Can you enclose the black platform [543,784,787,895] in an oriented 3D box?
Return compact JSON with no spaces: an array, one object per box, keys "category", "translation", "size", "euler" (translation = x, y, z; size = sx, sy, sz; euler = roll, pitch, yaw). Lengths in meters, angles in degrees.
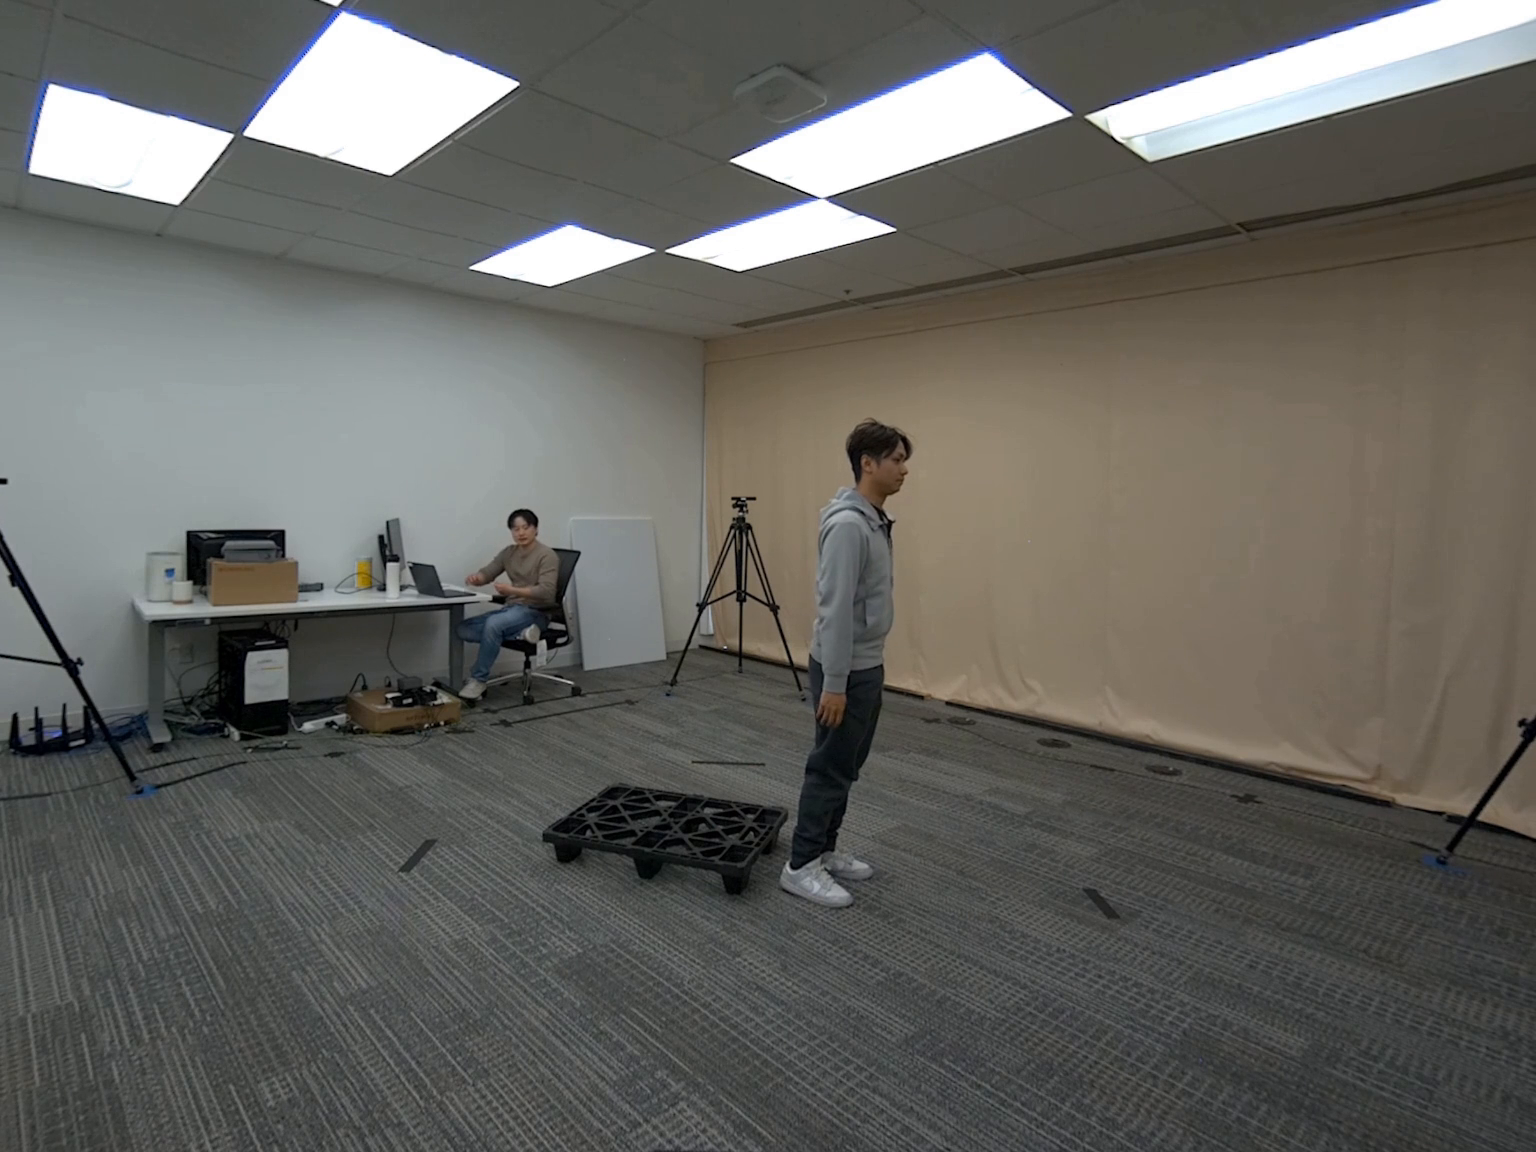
[{"category":"black platform","translation":[-0.384,1.018,3.284],"size":[0.818,0.143,0.598],"euler":[3,6,18]}]
